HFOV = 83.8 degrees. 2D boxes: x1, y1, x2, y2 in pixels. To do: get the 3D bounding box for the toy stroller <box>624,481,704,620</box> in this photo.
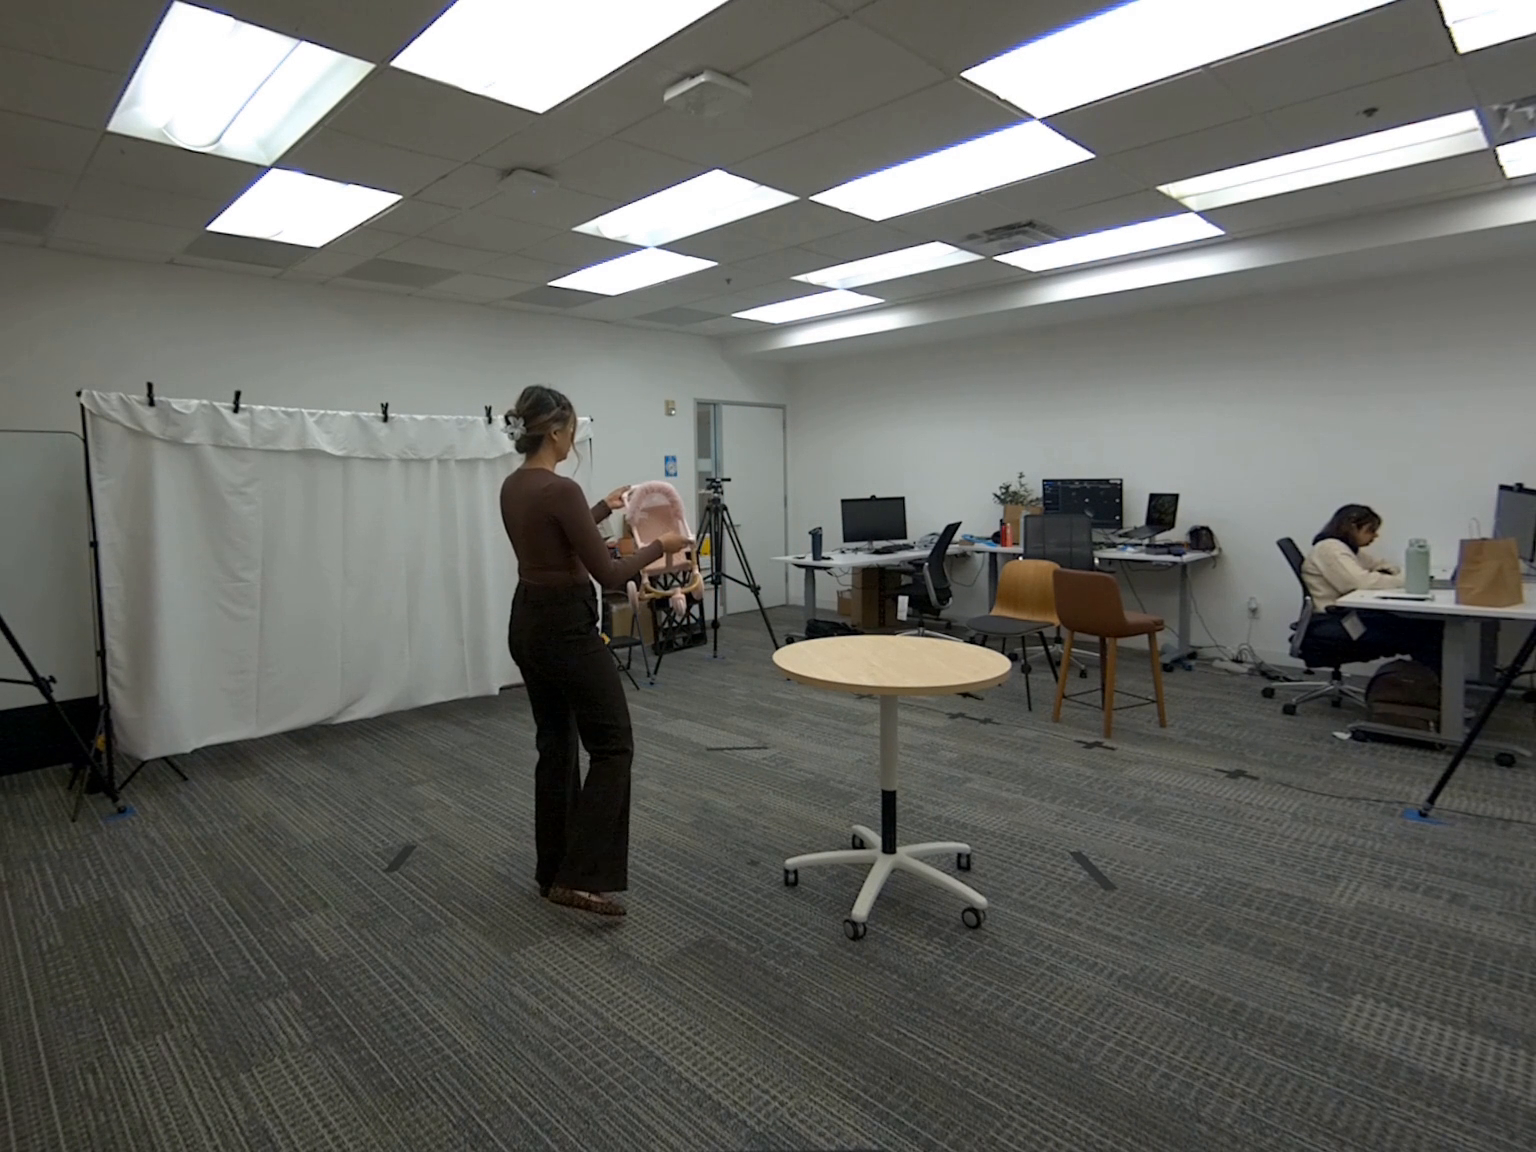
[{"bbox_3d":[-0.385,-0.108,3.121,0.279,0.539,0.342,-8,-6,-12],"label":"toy stroller"}]
